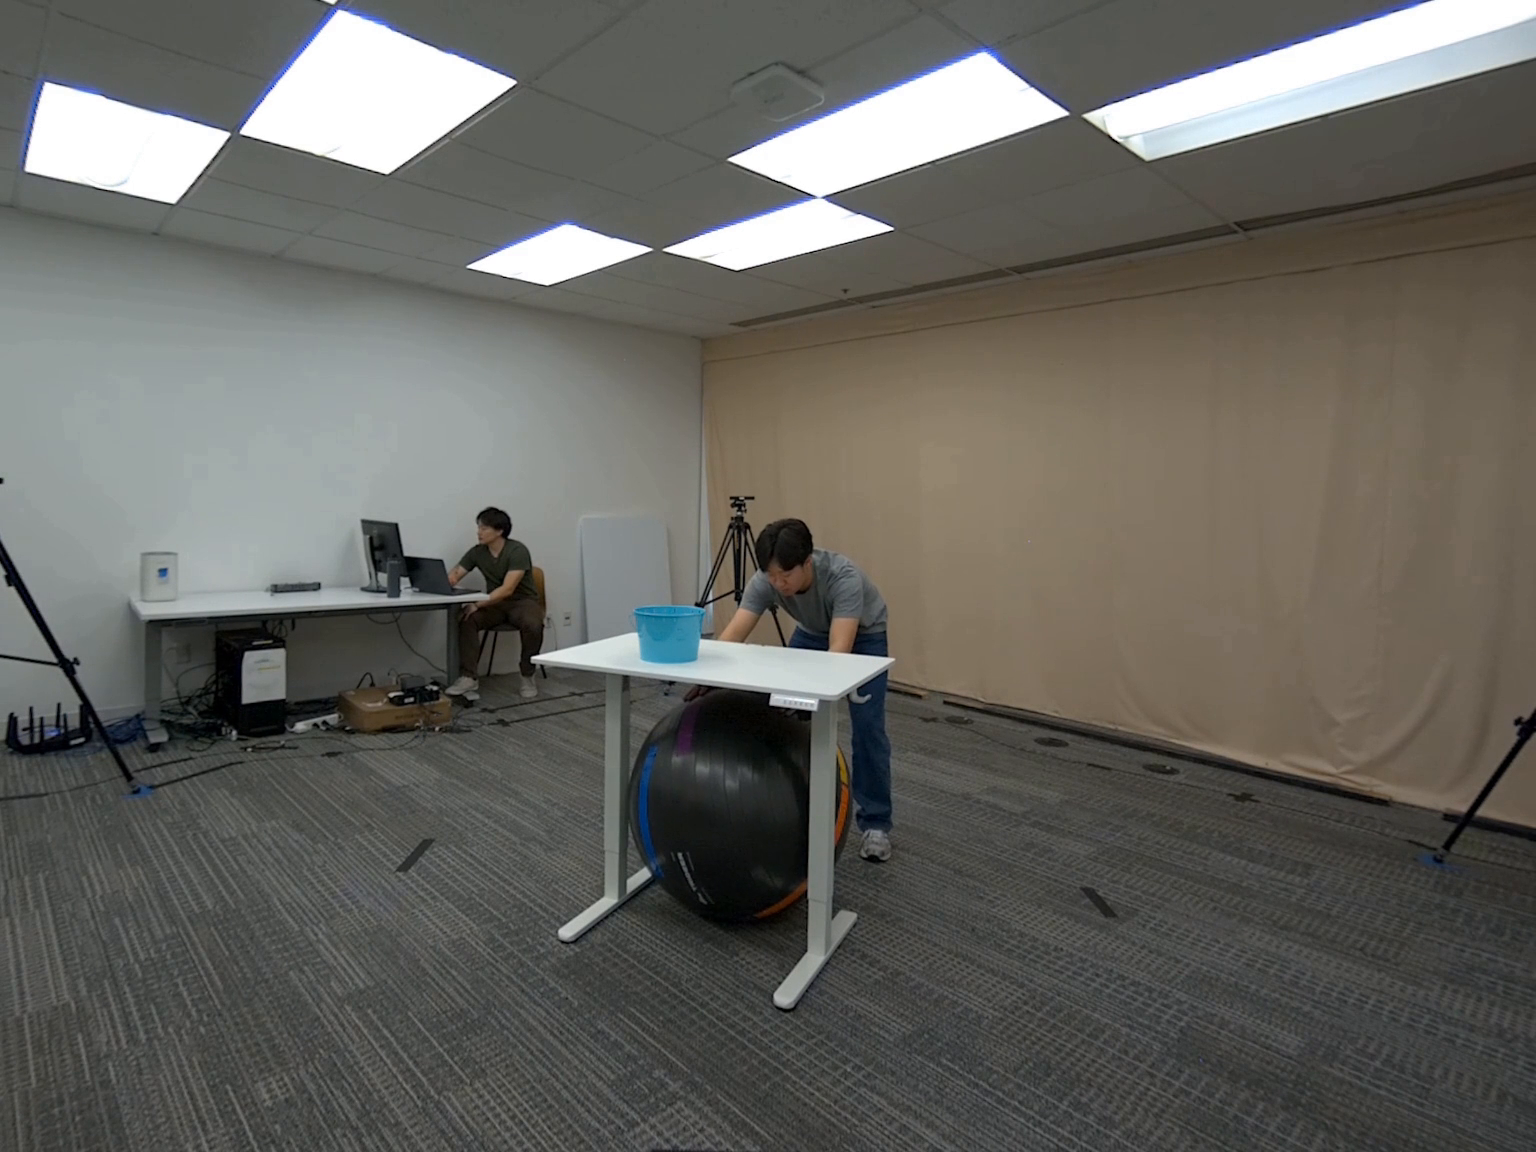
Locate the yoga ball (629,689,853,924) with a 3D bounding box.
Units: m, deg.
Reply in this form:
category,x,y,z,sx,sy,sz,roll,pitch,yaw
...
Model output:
category,x,y,z,sx,sy,sz,roll,pitch,yaw
yoga ball,-0.095,0.760,2.865,0.757,0.756,0.761,1,4,-1
